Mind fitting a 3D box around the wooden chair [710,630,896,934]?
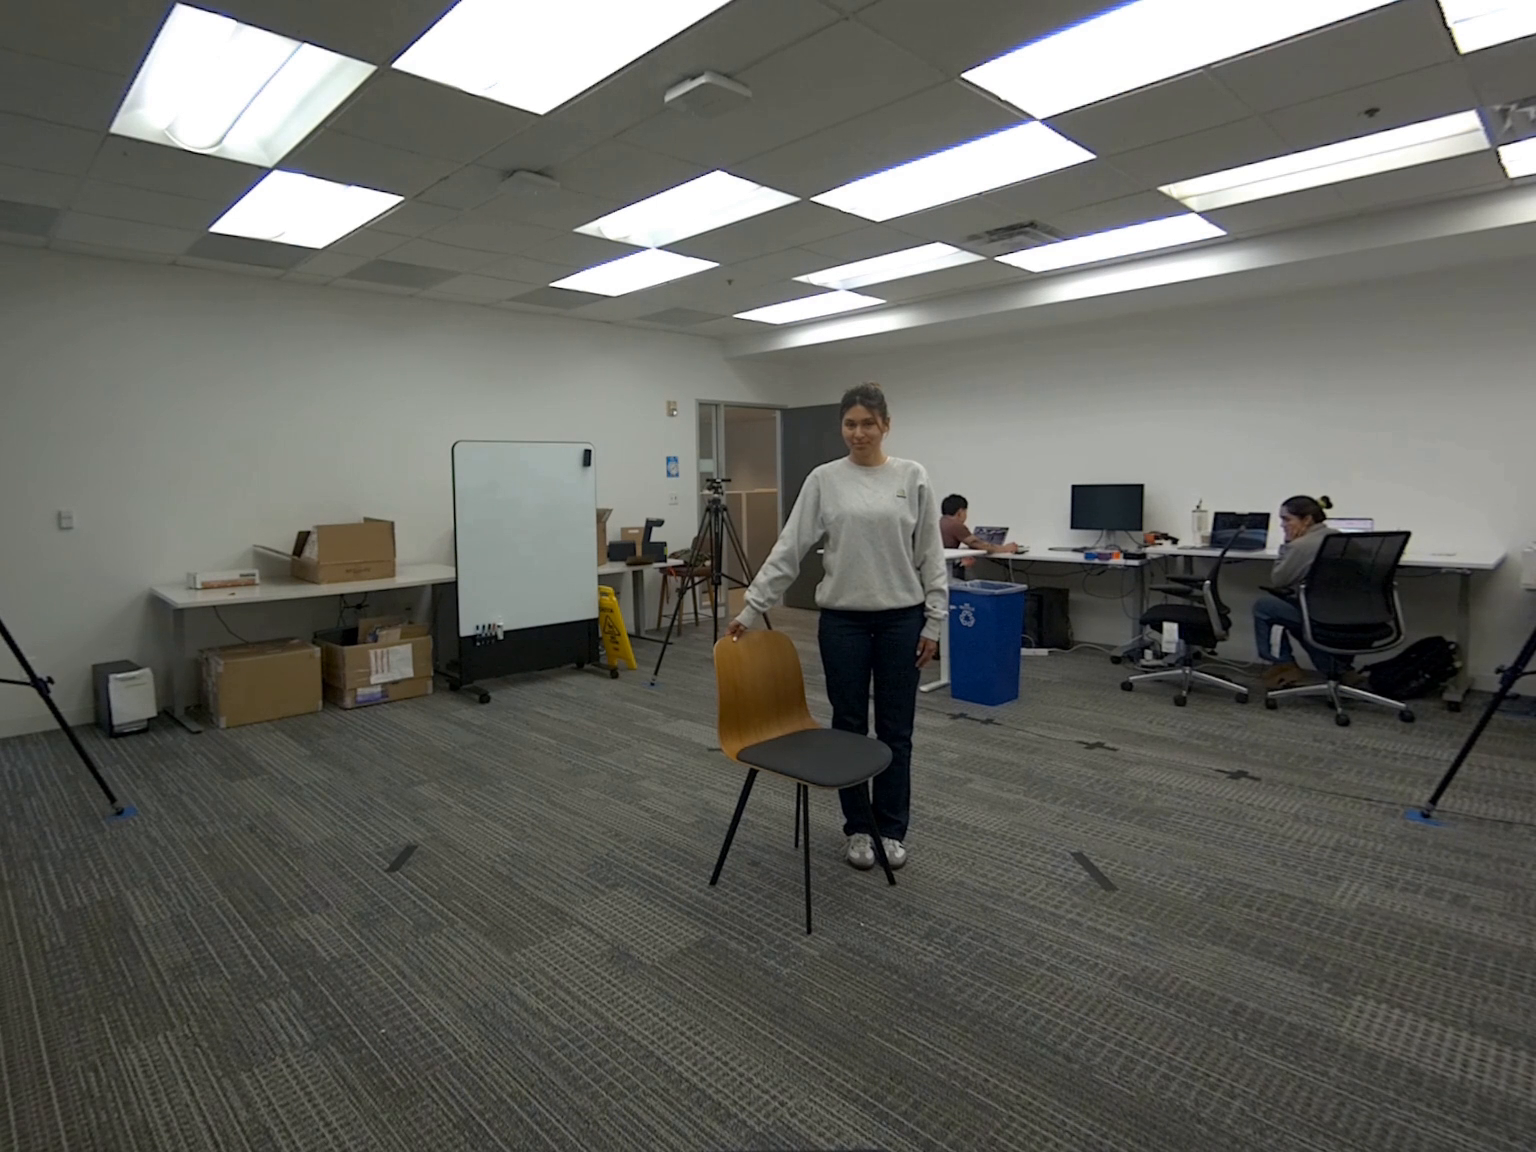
[{"bbox_3d":[0.113,0.640,2.891,0.465,0.877,0.538,-4,1,-45],"label":"wooden chair"}]
